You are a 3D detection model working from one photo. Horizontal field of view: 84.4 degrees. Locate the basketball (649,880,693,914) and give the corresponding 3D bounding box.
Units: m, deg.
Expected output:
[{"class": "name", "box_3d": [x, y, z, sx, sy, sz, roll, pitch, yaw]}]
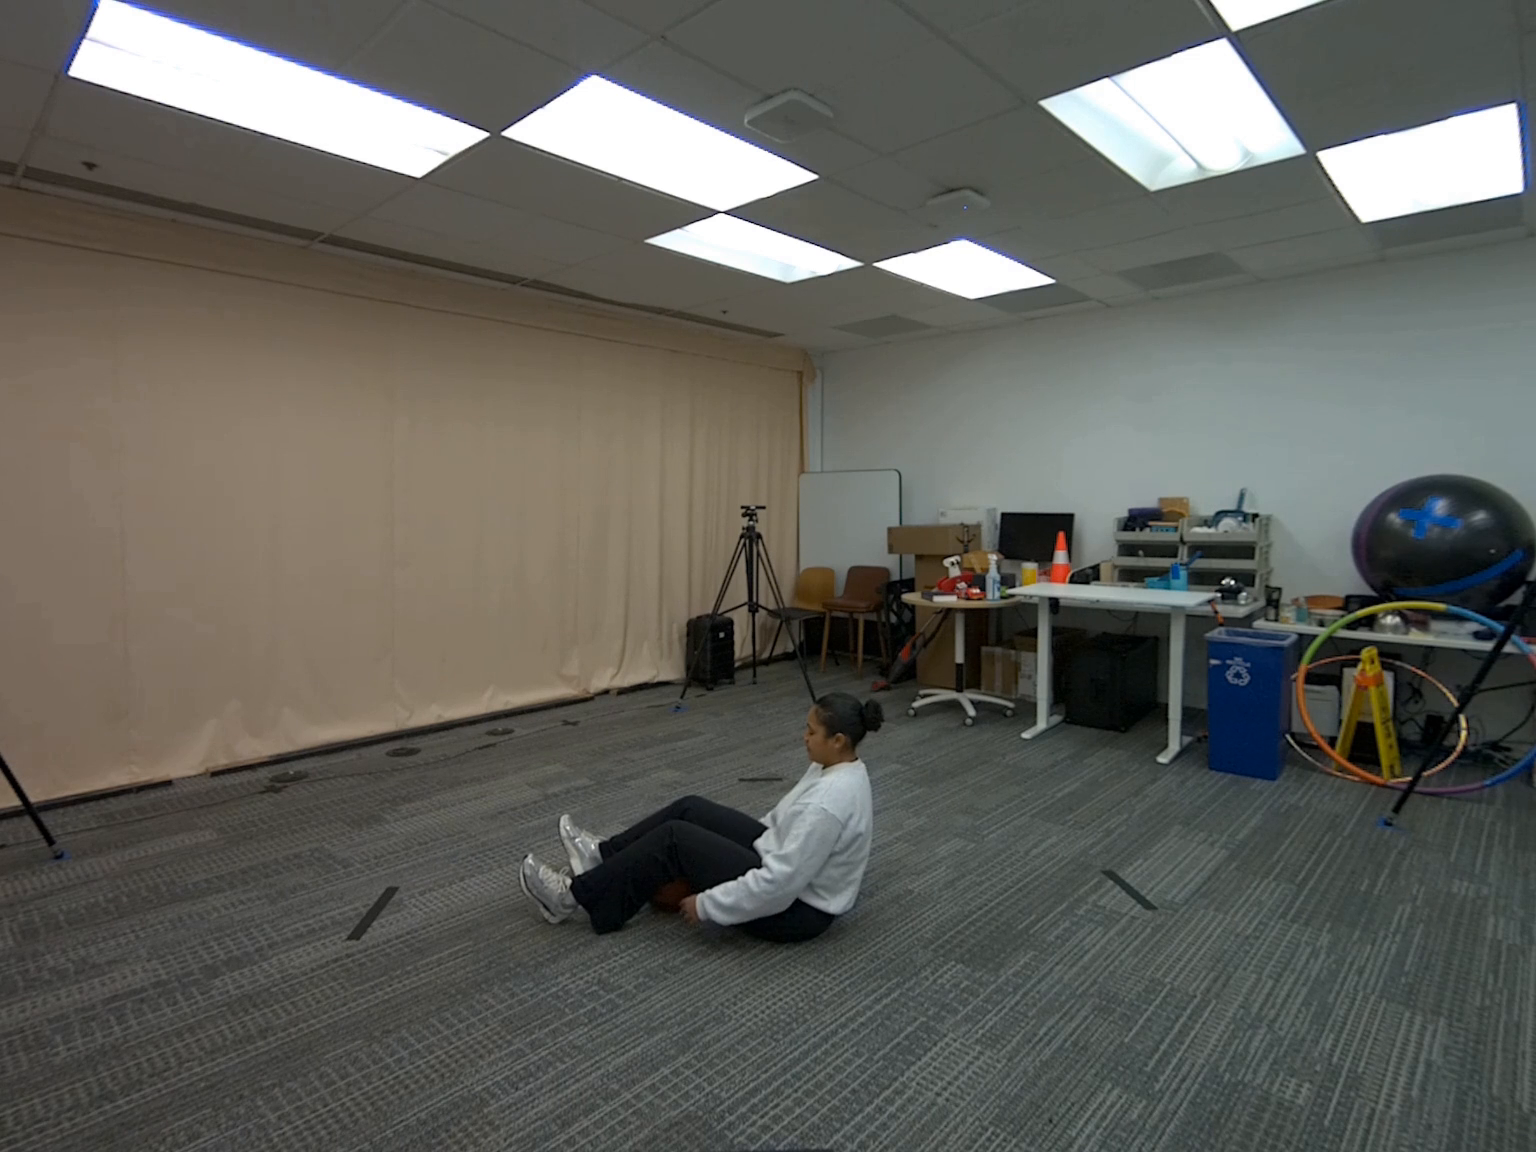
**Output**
[{"class": "basketball", "box_3d": [-0.335, 1.029, 2.932, 0.236, 0.235, 0.237, 0, 4, -2]}]
